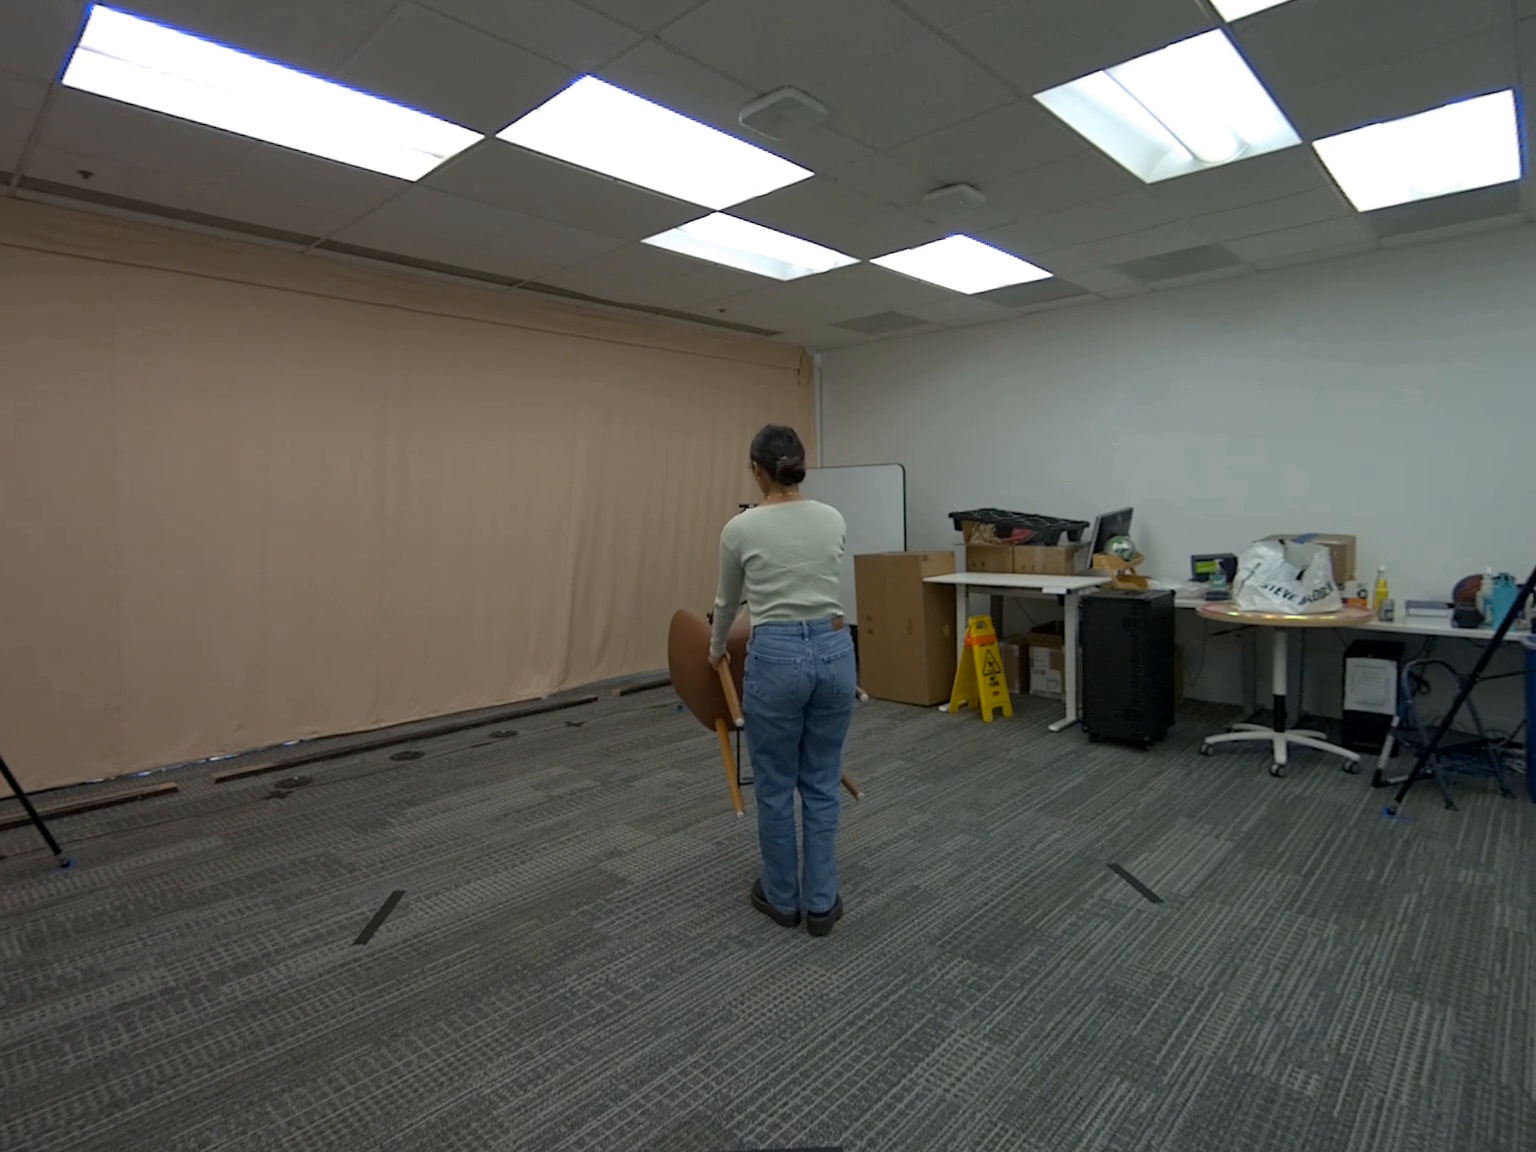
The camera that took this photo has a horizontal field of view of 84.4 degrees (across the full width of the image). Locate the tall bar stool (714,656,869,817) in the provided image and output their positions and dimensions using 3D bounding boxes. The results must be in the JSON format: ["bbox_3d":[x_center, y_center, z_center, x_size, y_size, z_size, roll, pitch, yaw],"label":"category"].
[{"bbox_3d":[-0.026,0.446,3.128,0.460,0.451,0.916,-8,22,-18],"label":"tall bar stool"}]
